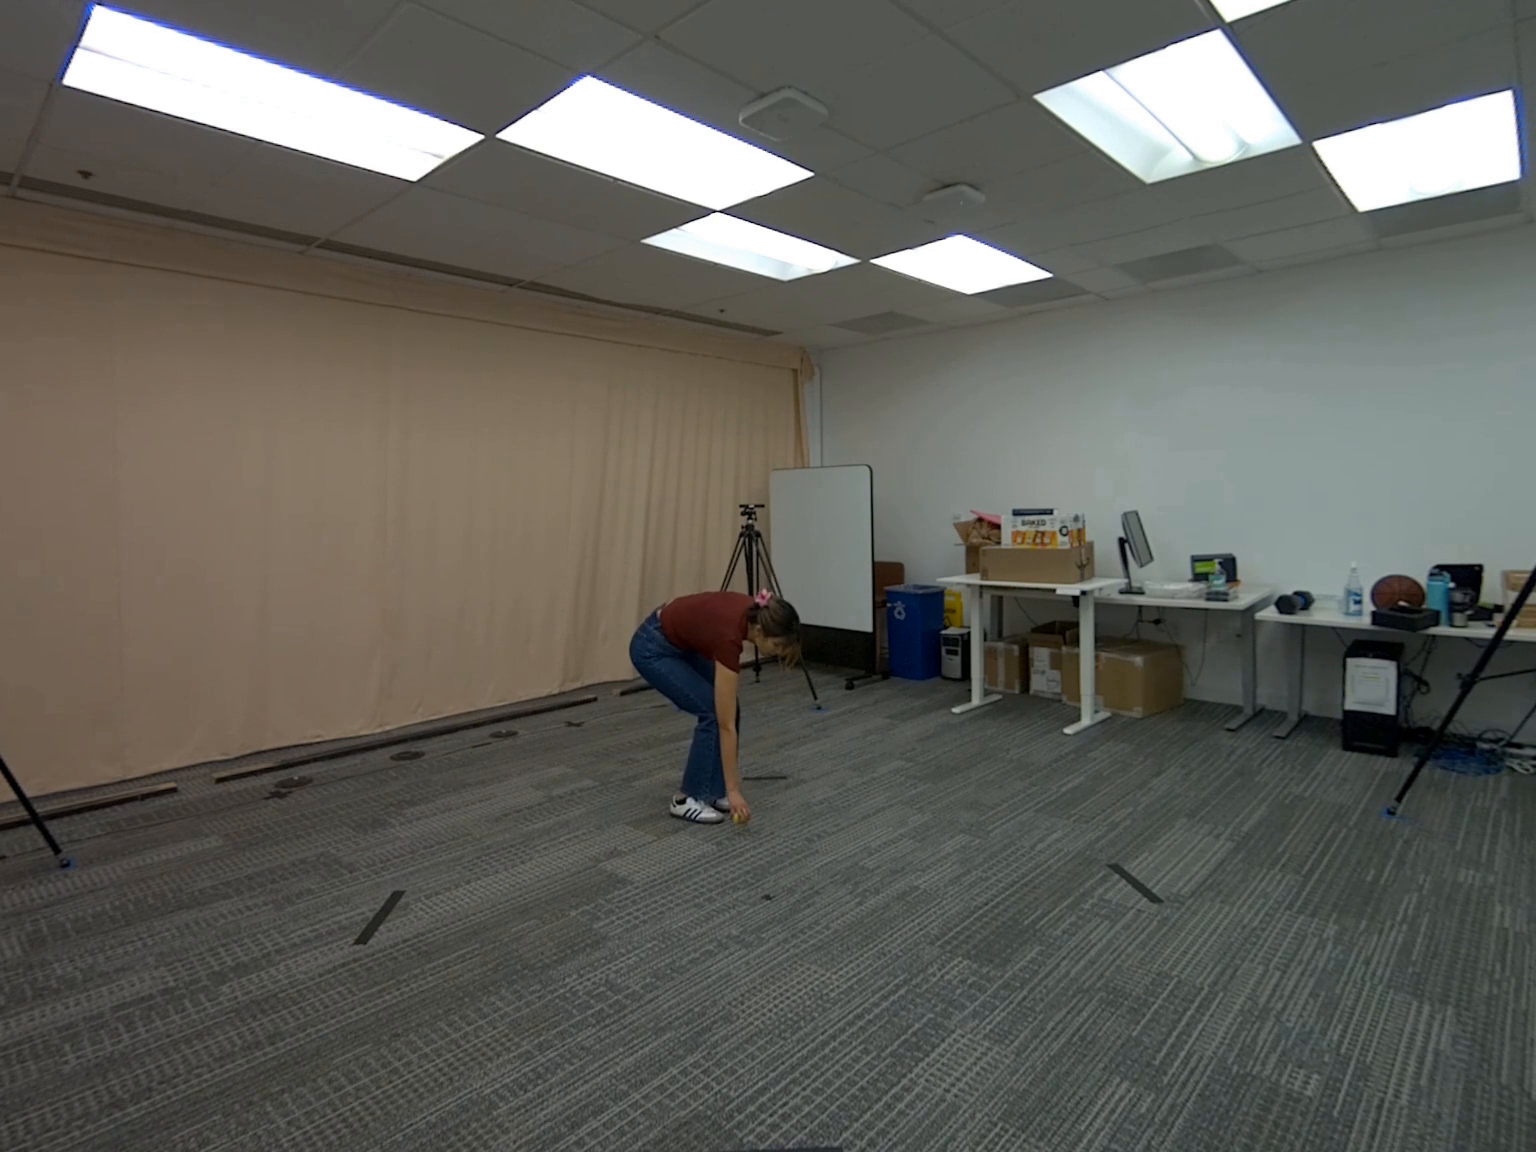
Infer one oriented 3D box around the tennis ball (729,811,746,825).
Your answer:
[{"bbox_3d":[-0.120,1.013,3.575,0.066,0.066,0.067,-1,4,-2],"label":"tennis ball"}]
